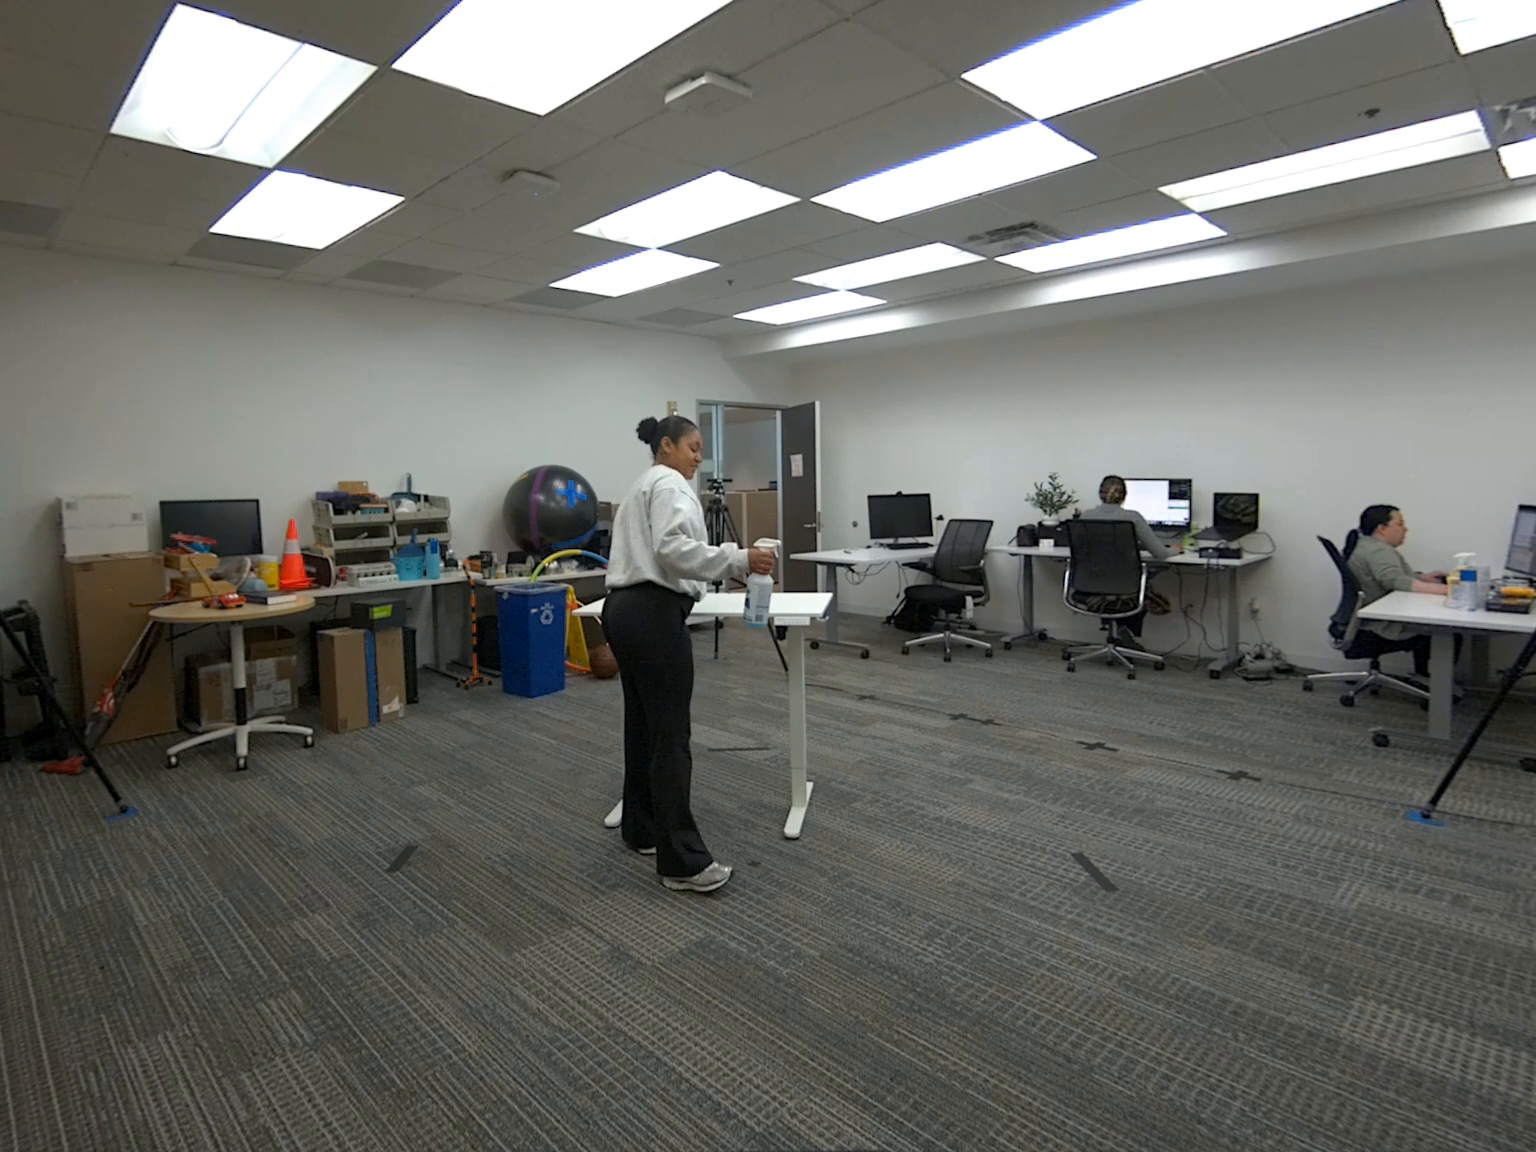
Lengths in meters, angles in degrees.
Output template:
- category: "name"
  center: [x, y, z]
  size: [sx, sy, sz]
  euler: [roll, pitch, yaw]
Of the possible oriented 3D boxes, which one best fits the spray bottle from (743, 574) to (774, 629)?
- category: "spray bottle"
  center: [-0.023, 0.028, 2.862]
  size: [0.084, 0.295, 0.093]
  euler: [-2, 13, -45]
